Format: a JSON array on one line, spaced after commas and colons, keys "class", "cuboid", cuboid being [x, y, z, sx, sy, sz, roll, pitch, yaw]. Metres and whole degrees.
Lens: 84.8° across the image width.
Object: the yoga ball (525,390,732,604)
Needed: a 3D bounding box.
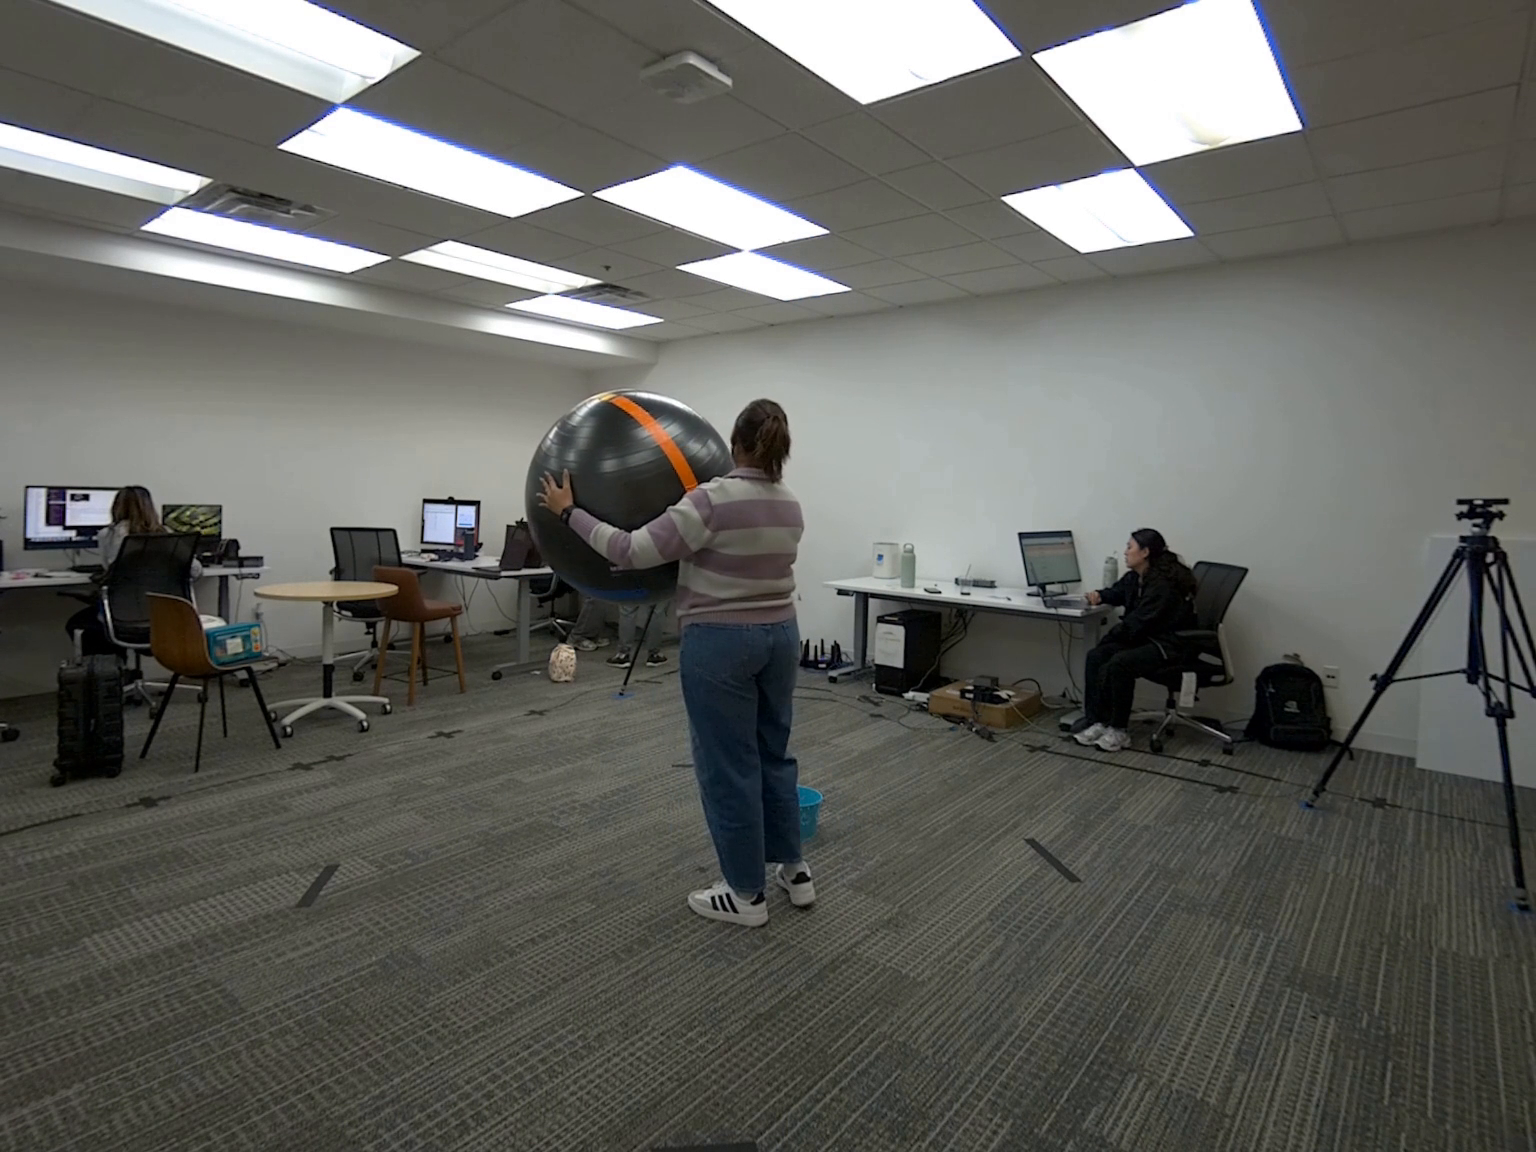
[{"class": "yoga ball", "cuboid": [-0.483, -0.273, 3.012, 0.757, 0.756, 0.761, 1, 4, -2]}]
